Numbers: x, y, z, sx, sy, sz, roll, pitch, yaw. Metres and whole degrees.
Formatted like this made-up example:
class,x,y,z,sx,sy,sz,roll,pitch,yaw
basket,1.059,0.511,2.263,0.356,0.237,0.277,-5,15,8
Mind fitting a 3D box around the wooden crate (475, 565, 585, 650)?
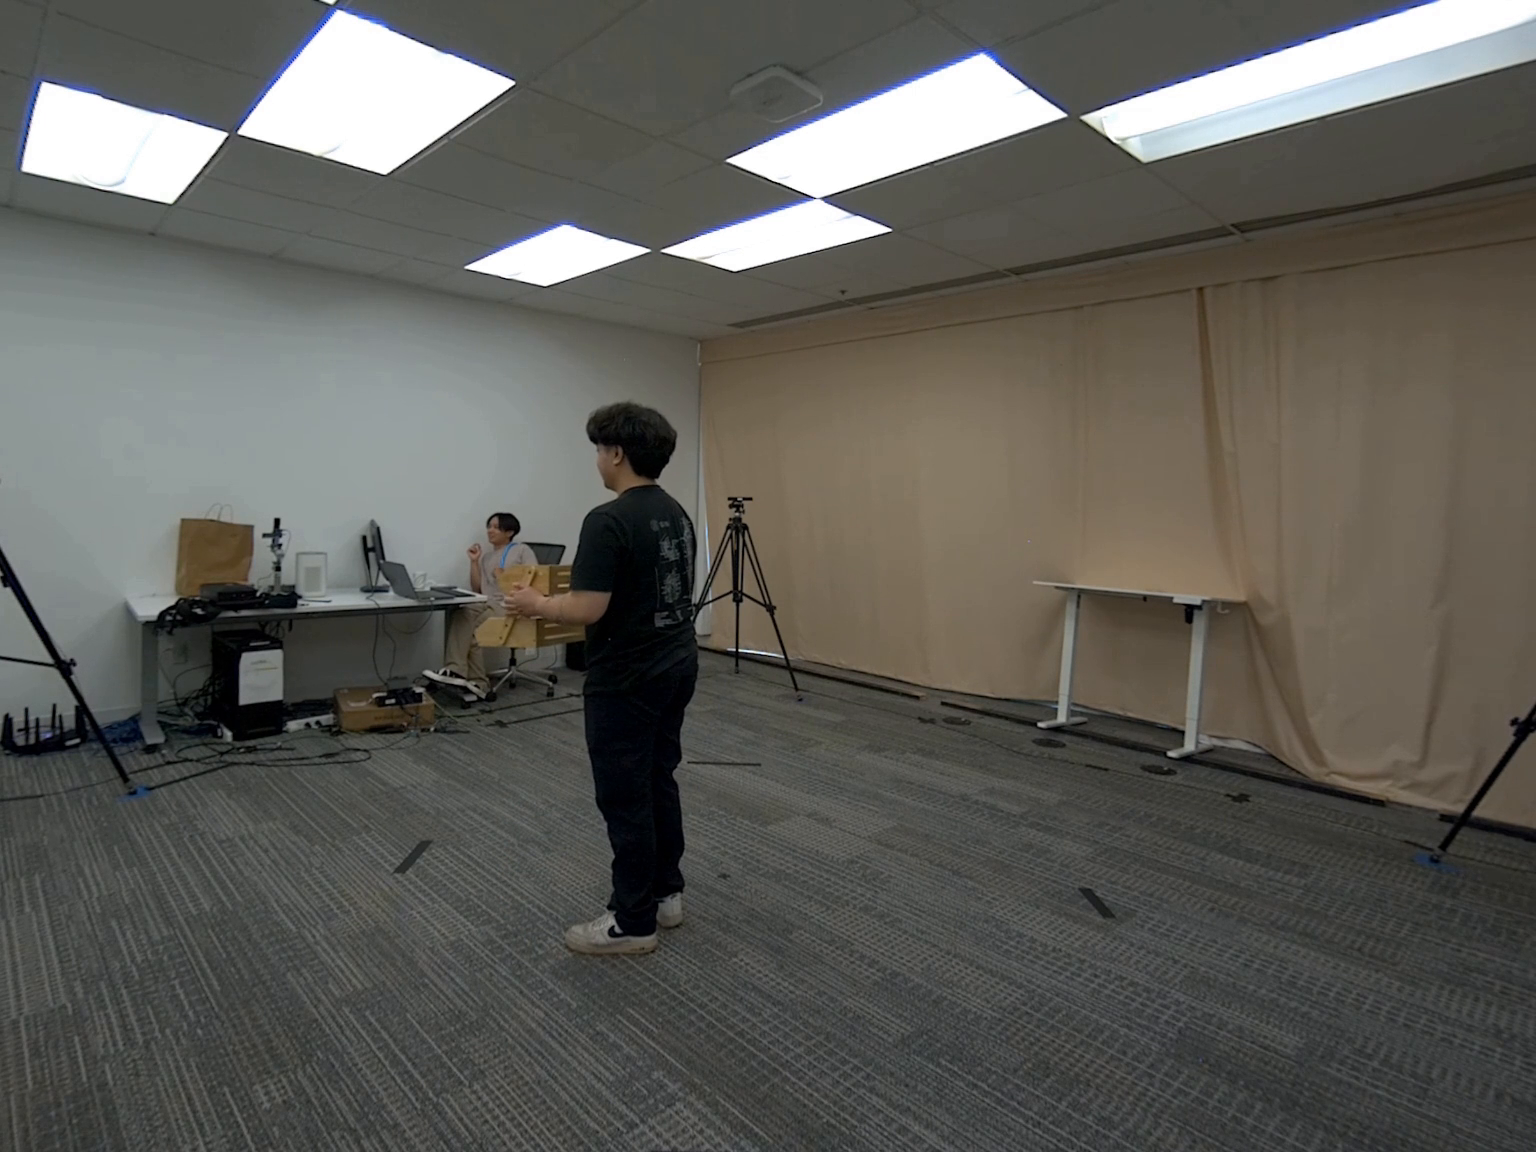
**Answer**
class,x,y,z,sx,sy,sz,roll,pitch,yaw
wooden crate,-0.764,0.089,2.799,0.307,0.273,0.319,0,1,23
